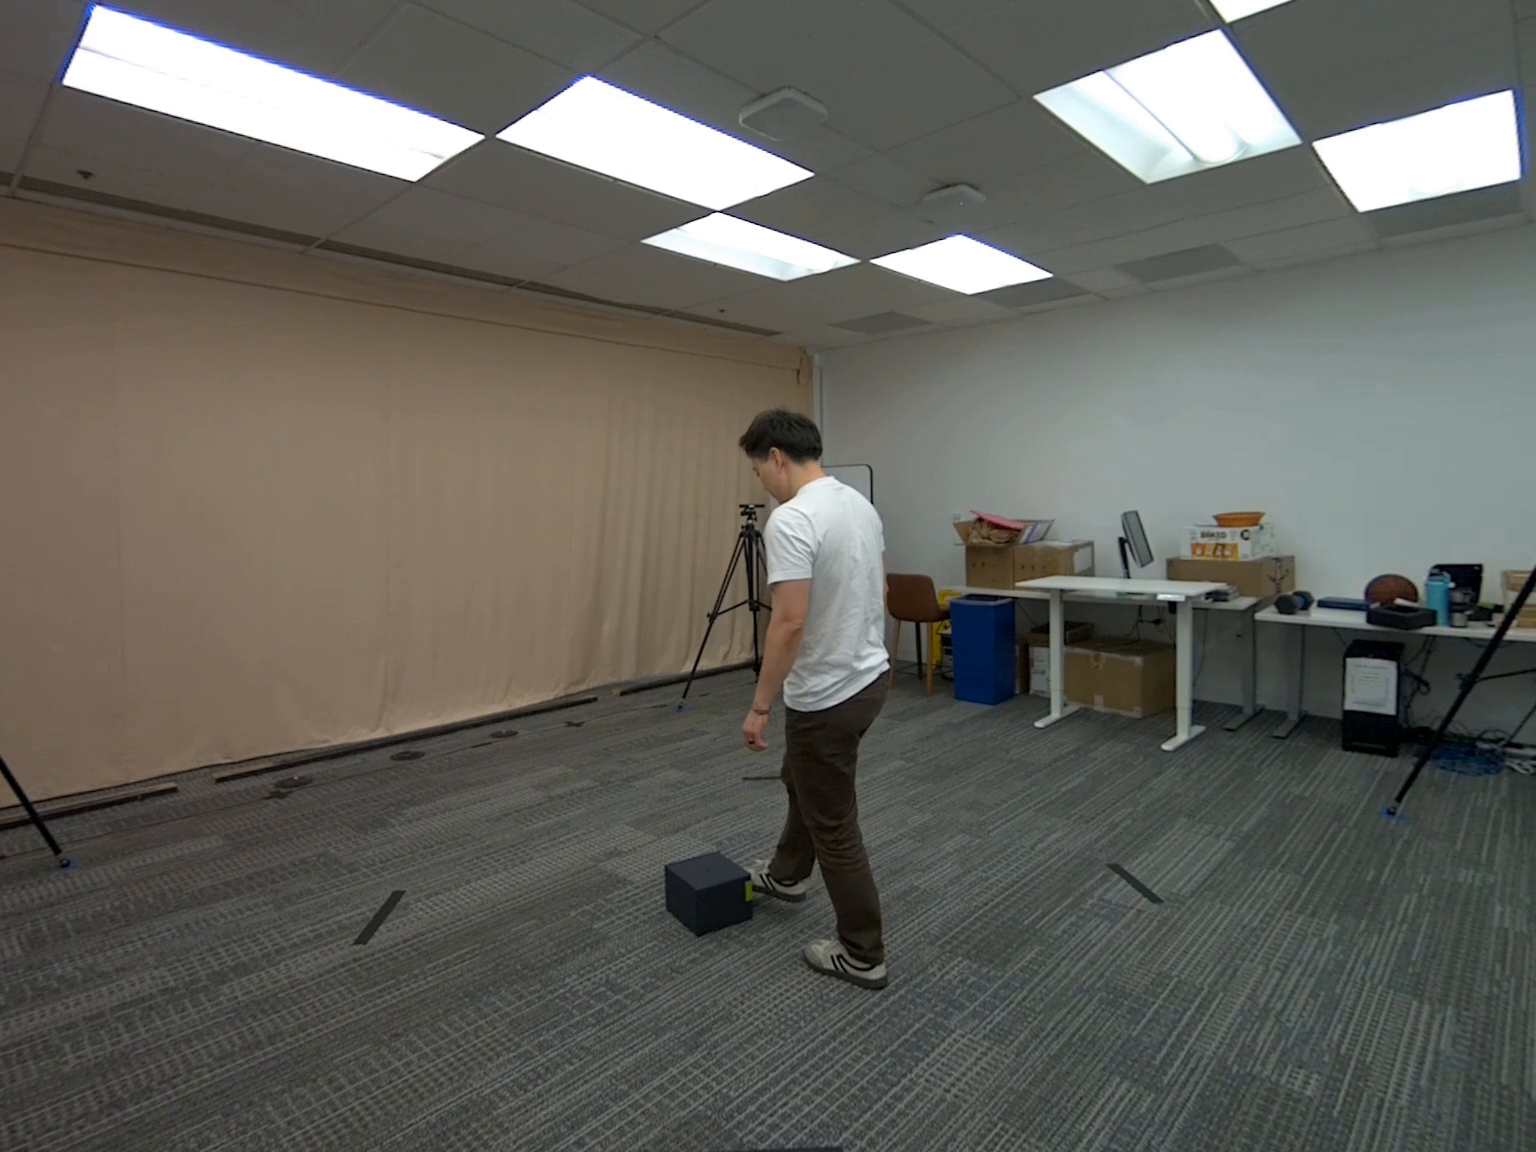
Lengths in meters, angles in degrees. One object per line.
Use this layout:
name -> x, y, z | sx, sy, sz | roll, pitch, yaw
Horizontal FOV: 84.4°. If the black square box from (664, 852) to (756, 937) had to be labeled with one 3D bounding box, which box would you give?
black square box -> -0.203, 1.073, 2.857 | 0.211, 0.155, 0.235 | -3, 5, -32
